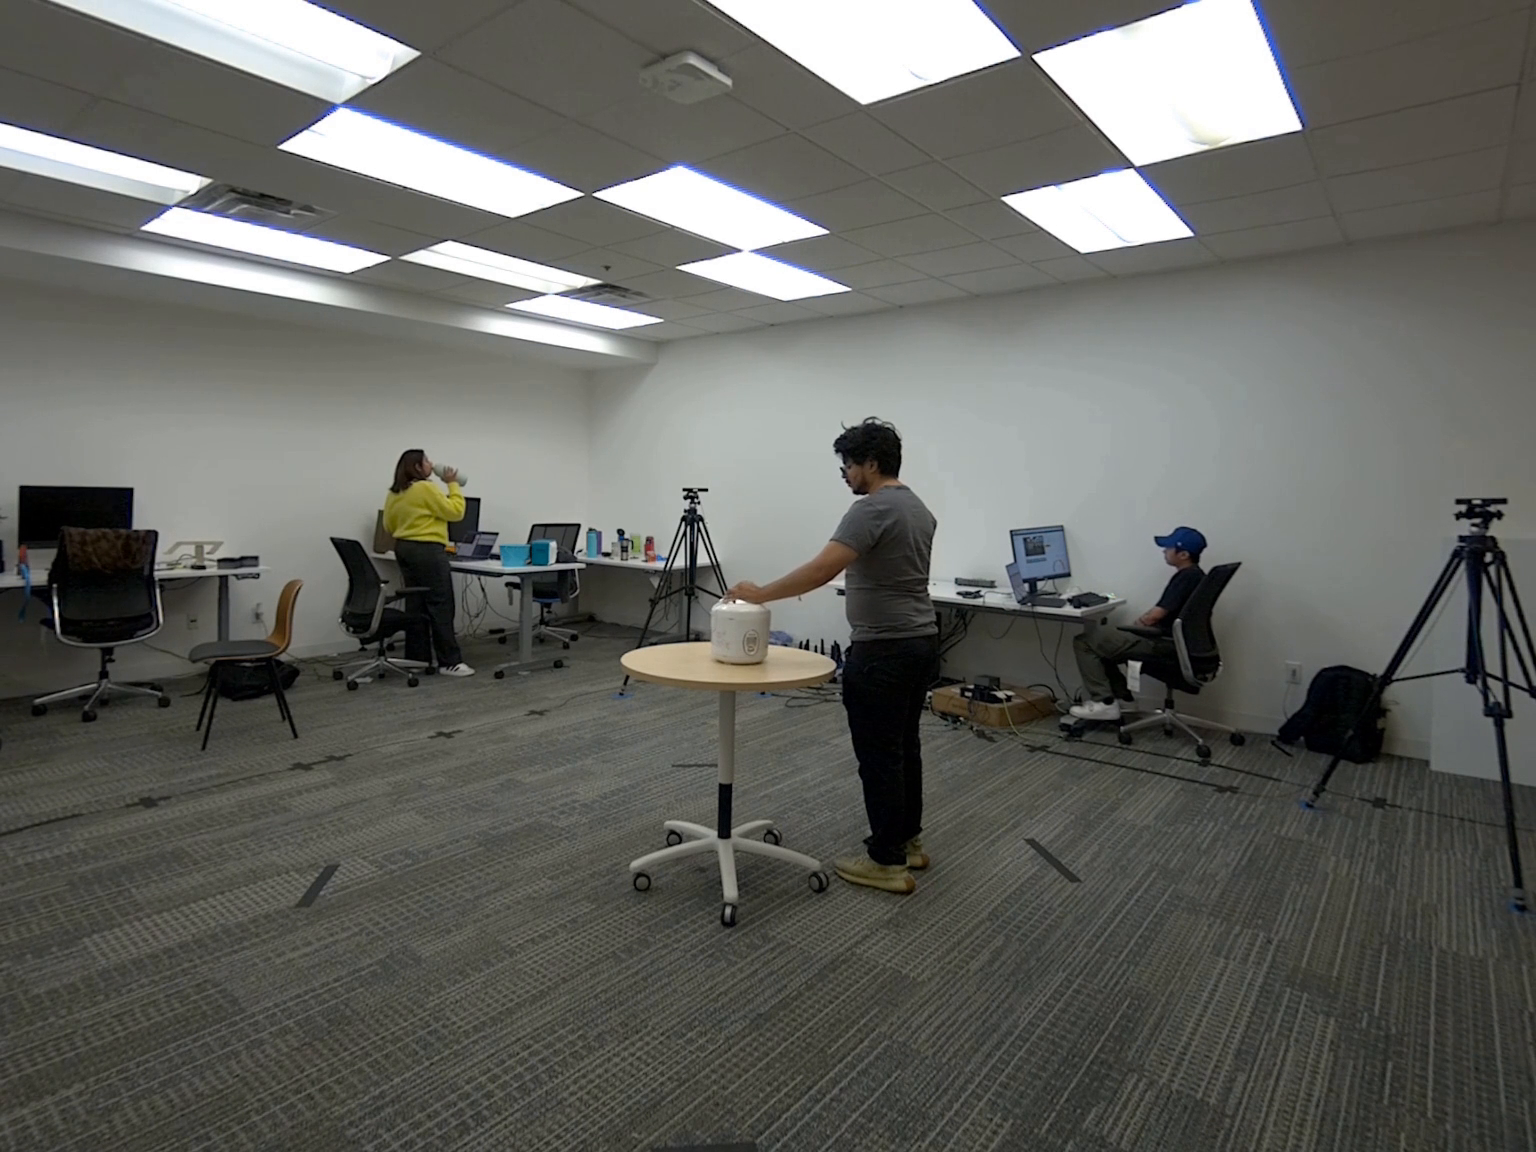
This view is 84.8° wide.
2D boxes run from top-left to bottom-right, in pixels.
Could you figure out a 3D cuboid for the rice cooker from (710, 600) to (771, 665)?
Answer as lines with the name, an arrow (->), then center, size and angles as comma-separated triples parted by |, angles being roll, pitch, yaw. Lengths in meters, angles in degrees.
rice cooker -> -0.105, 0.182, 3.033 | 0.216, 0.232, 0.222 | 0, 3, -21
